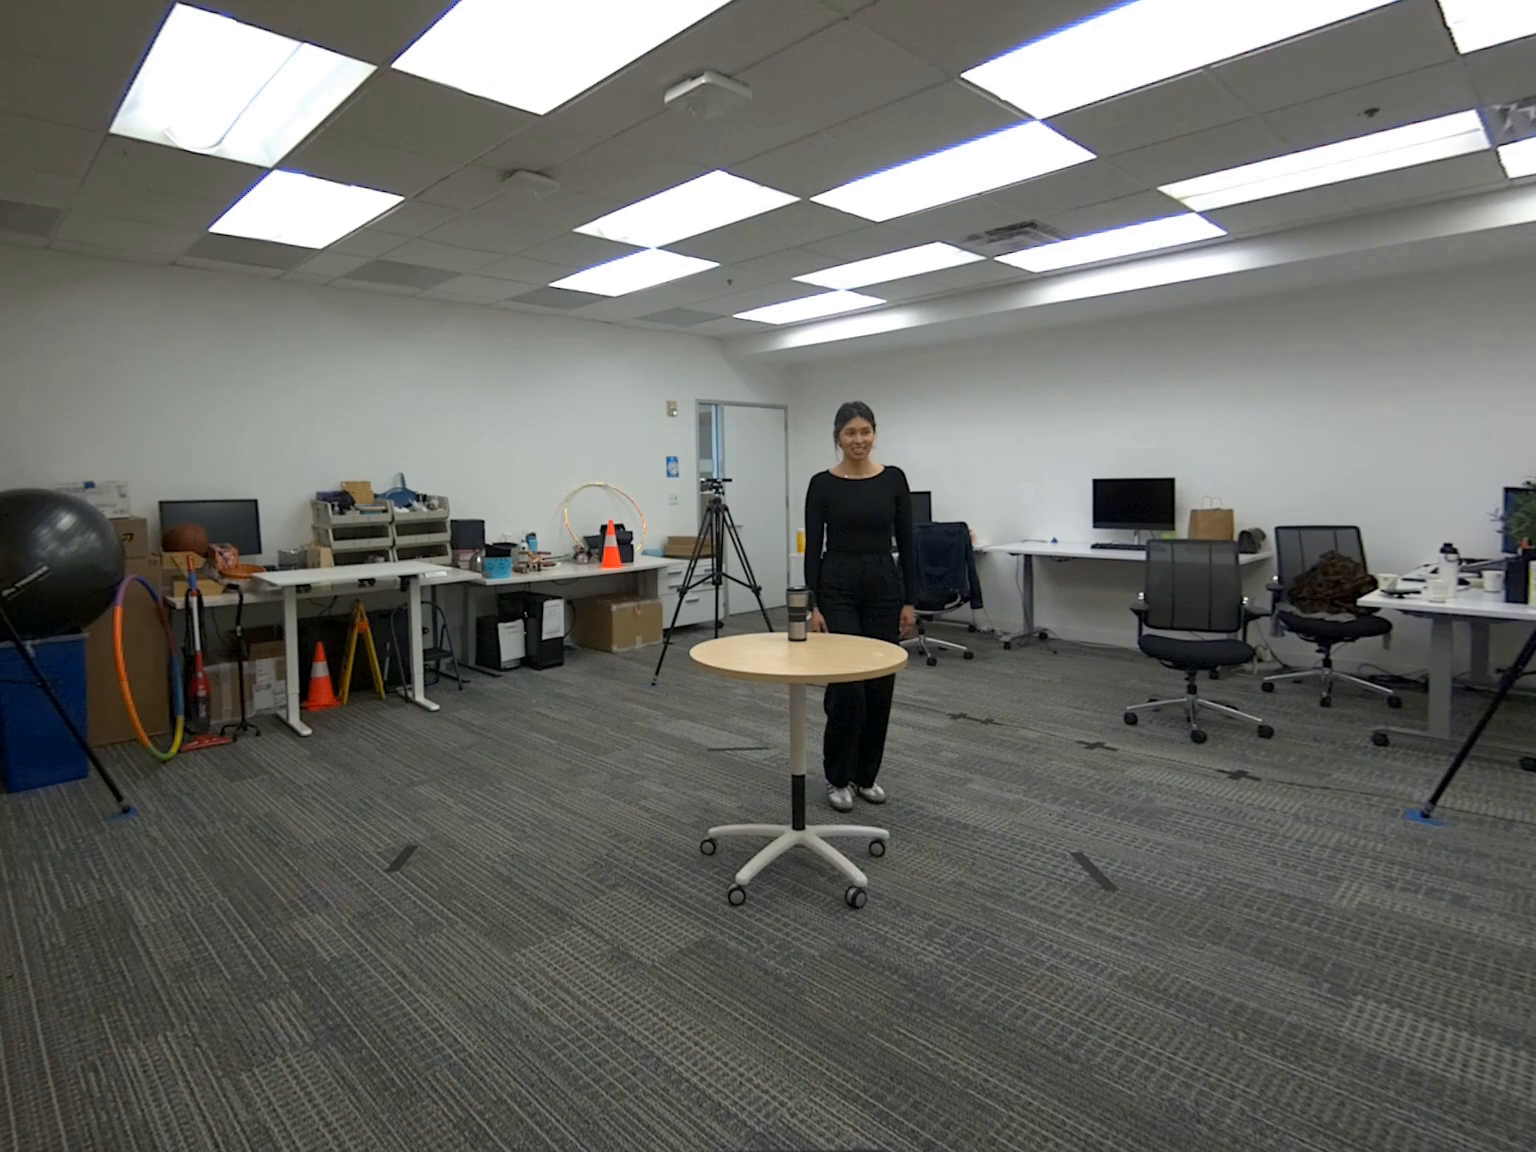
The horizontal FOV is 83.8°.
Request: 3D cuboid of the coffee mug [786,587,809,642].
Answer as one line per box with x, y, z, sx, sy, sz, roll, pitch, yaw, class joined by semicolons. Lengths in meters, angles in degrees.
0.136;0.143;3.247;0.119;0.203;0.090;-6;1;-30;coffee mug
